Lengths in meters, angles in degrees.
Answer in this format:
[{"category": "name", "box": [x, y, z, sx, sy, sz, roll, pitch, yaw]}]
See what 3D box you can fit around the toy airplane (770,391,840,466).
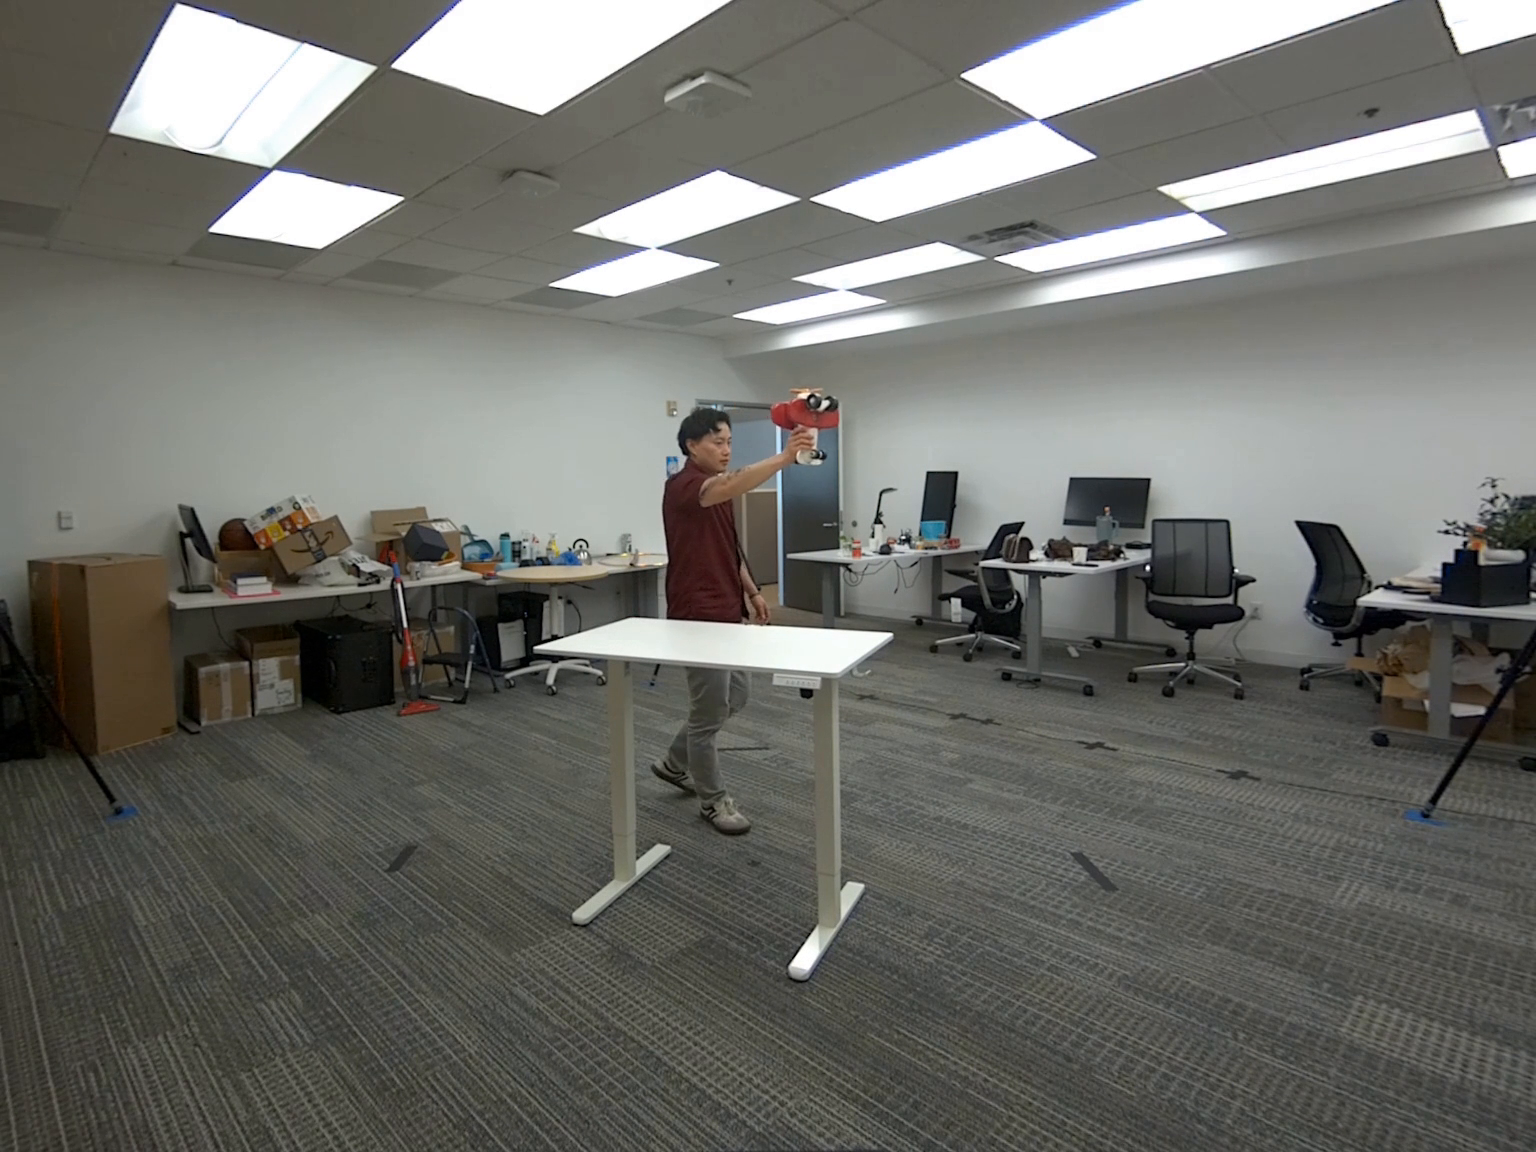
[{"category": "toy airplane", "box": [0.125, -0.518, 2.937, 0.162, 0.260, 0.241, 15, -17, 47]}]
